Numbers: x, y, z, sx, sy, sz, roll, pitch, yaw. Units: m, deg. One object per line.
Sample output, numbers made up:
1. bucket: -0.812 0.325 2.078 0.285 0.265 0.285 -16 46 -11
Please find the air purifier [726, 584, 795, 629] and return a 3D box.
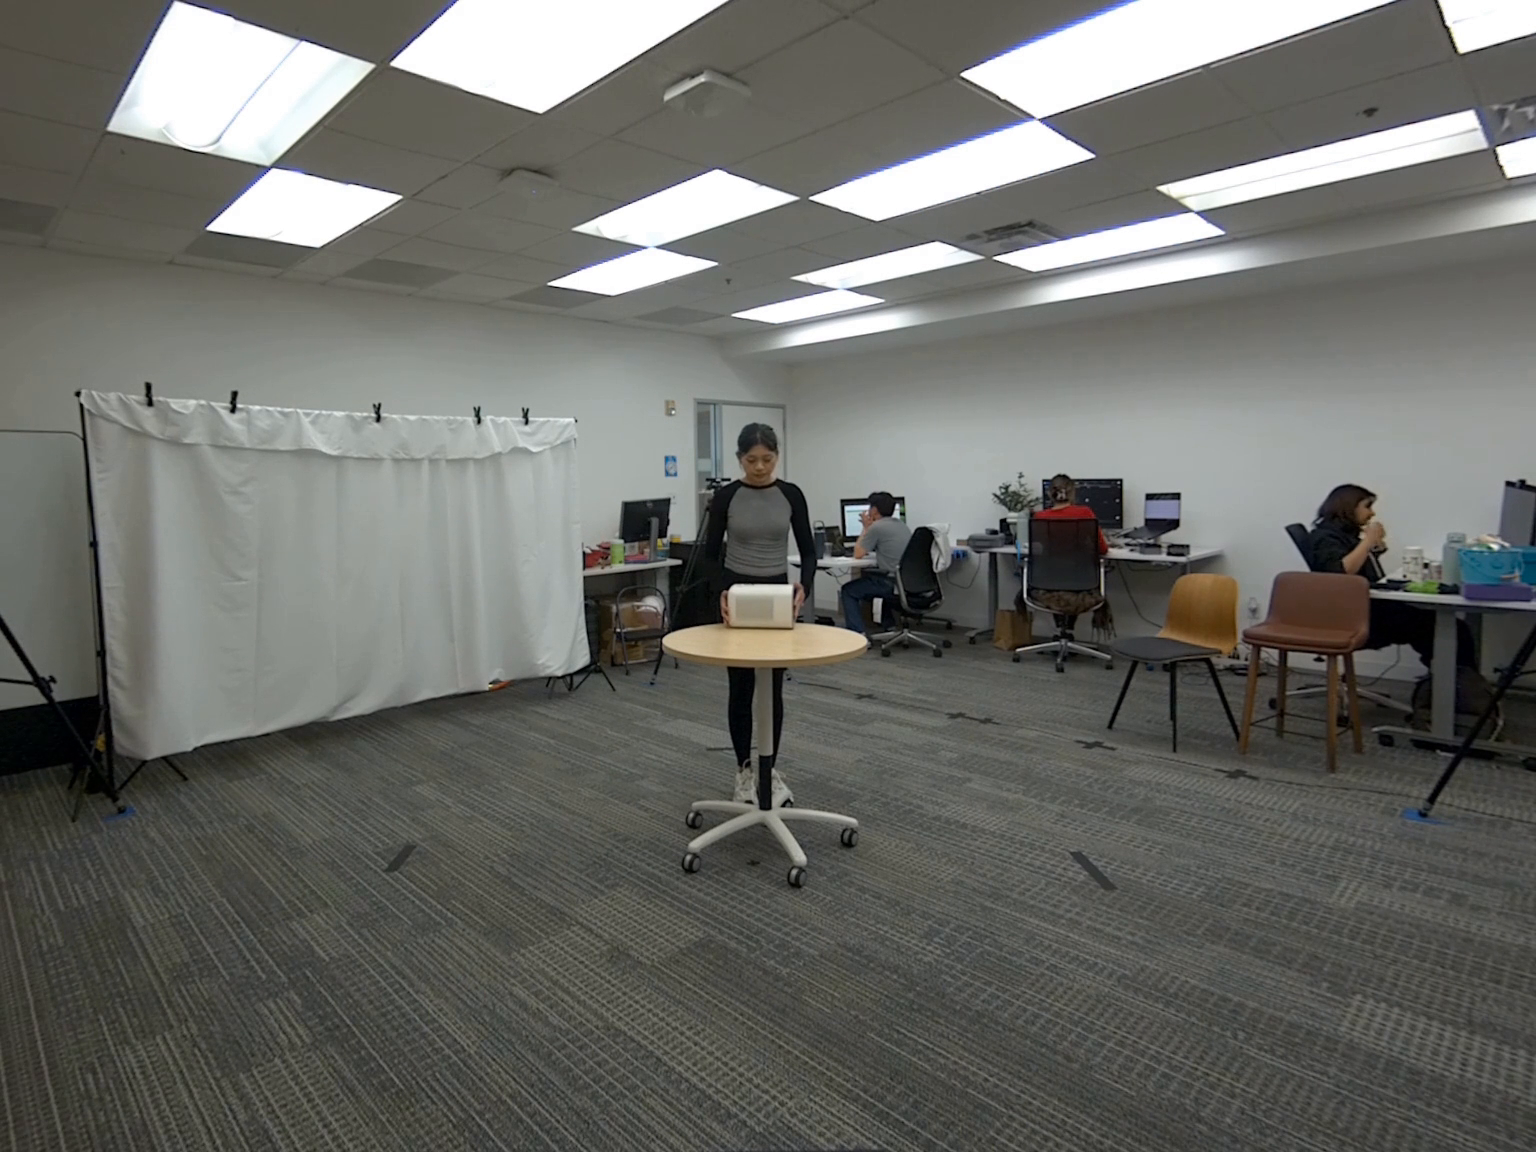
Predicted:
1. air purifier: -0.021 0.122 3.479 0.268 0.171 0.170 0 5 8
